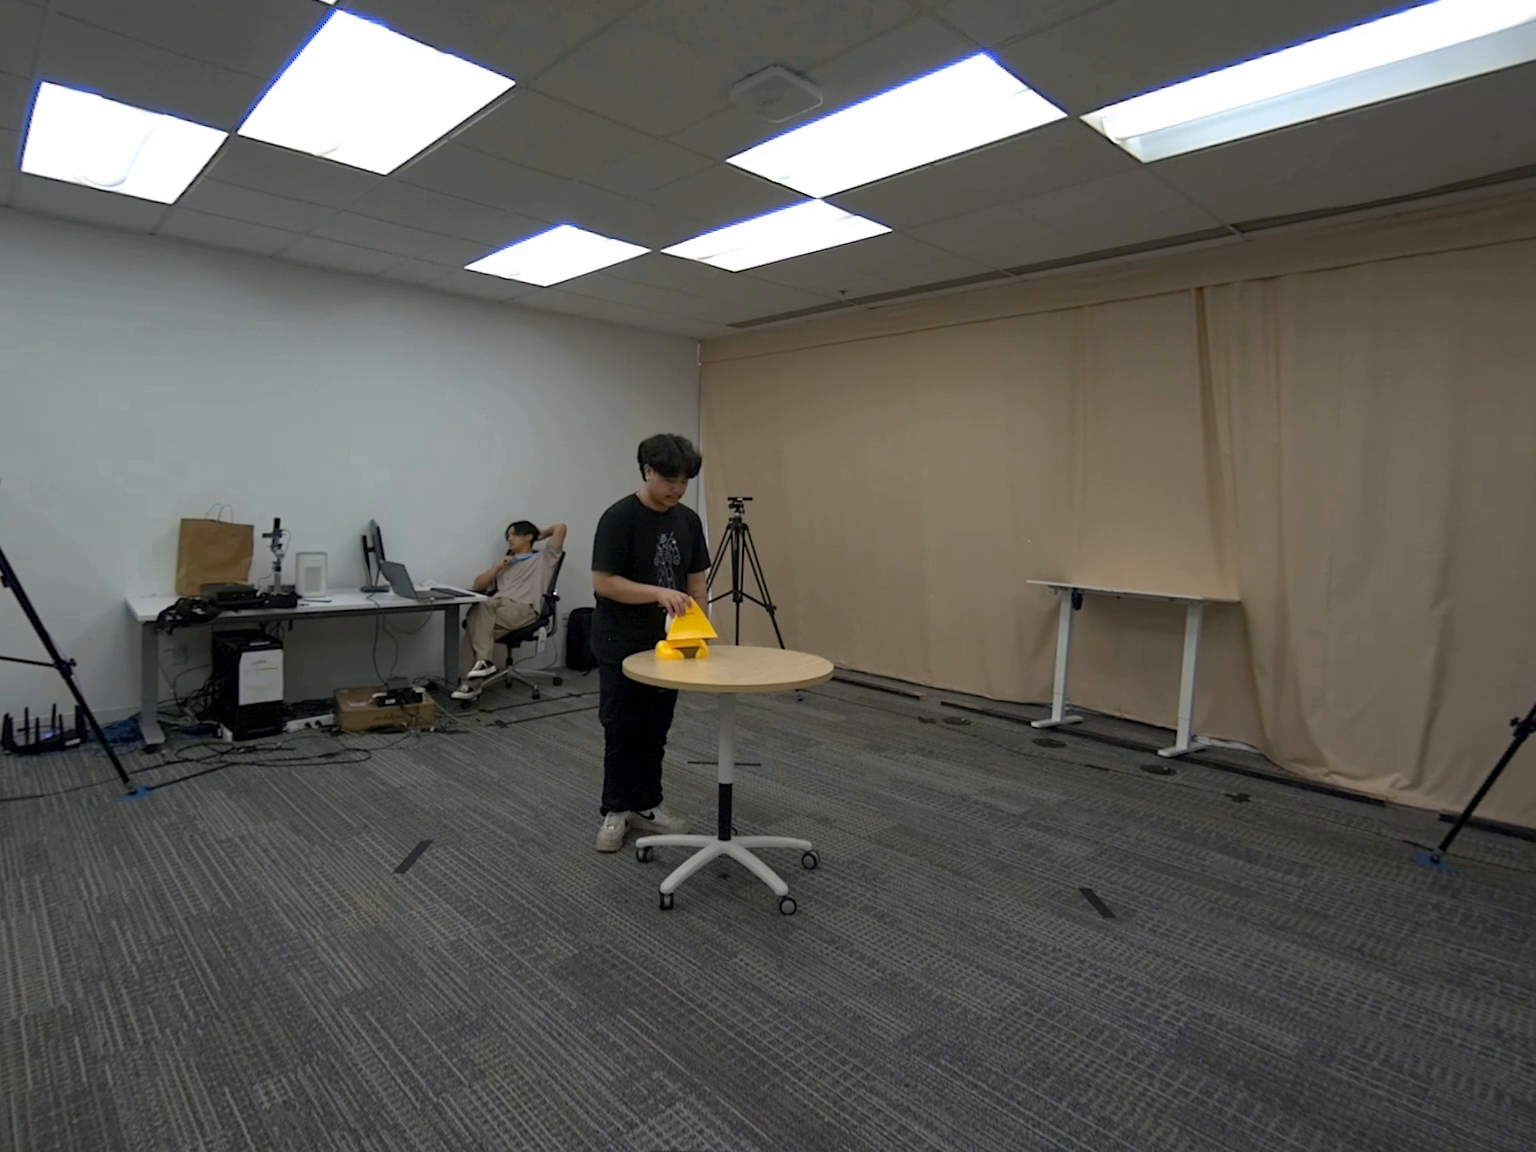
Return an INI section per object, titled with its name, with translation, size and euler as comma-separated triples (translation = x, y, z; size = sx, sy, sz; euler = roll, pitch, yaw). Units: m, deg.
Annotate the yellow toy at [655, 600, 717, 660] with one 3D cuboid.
[yellow toy]
translation = -0.330, 0.189, 3.198
size = 0.201, 0.230, 0.197
euler = -1, 4, -29
